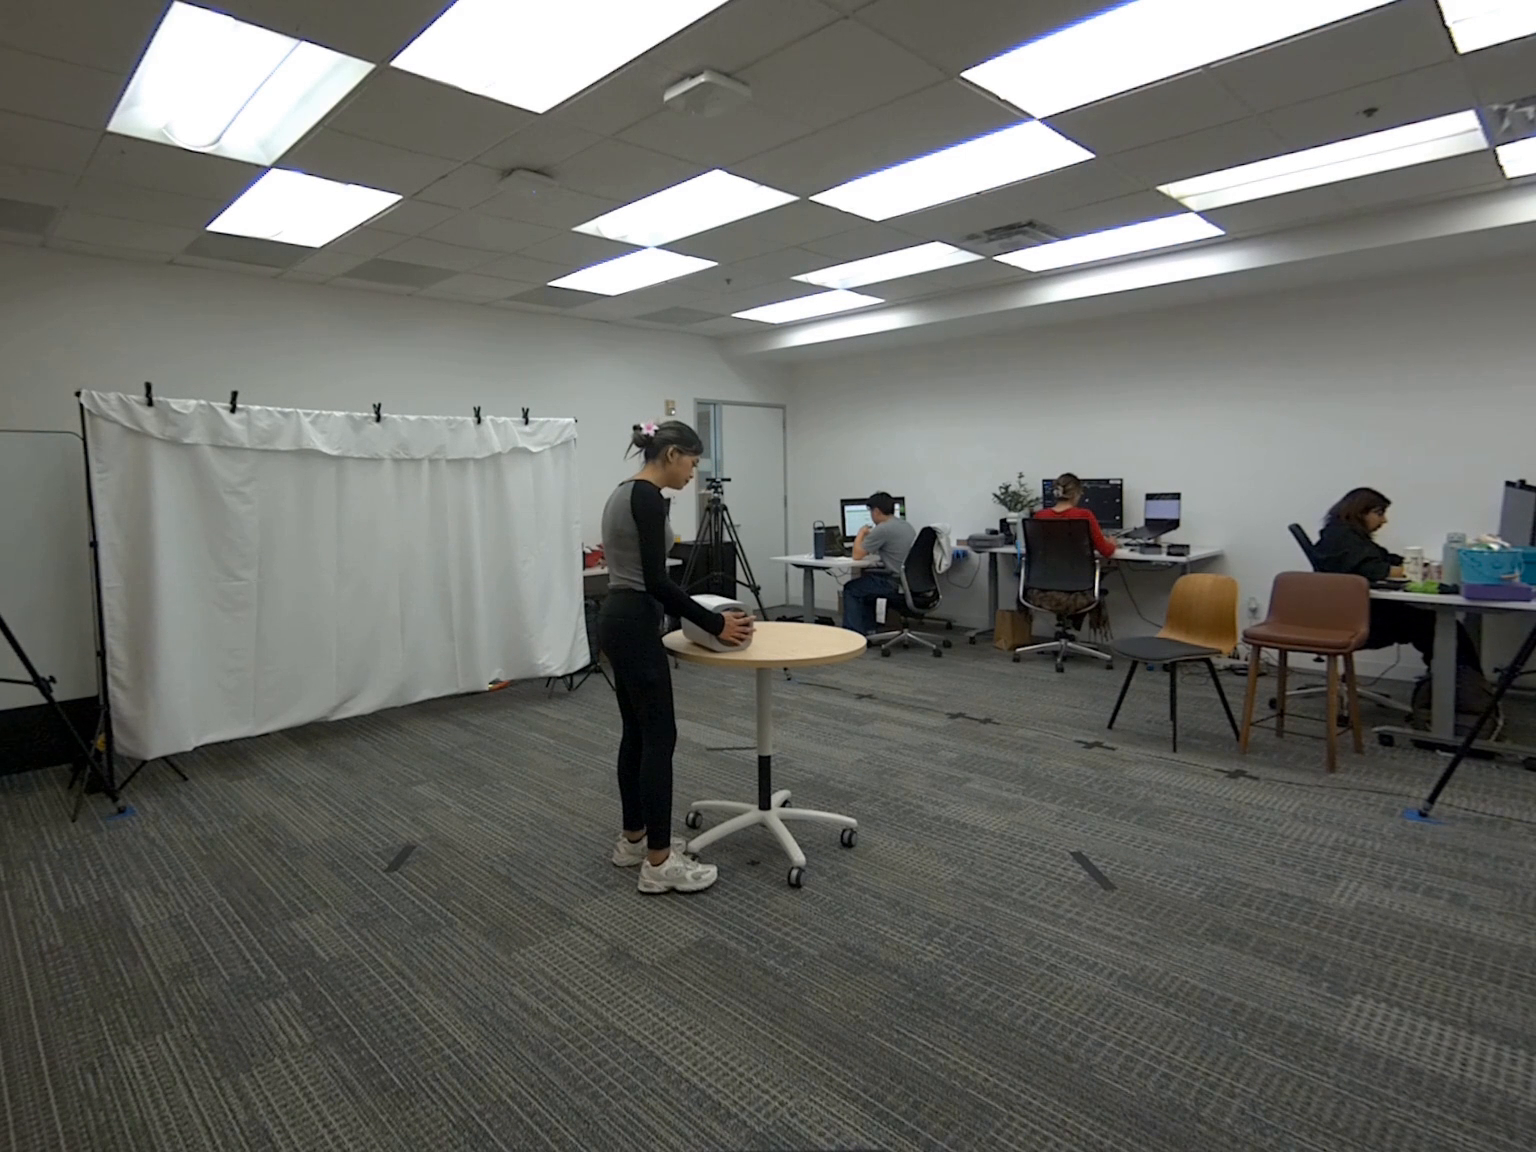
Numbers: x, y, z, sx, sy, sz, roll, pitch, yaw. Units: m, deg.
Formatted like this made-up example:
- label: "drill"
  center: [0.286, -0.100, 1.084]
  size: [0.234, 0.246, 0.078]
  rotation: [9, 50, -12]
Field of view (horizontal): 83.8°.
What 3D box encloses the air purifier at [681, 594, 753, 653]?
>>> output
- label: "air purifier"
  center: [-0.187, 0.164, 3.085]
  size: [0.167, 0.171, 0.272]
  rotation: [-3, 6, -29]
